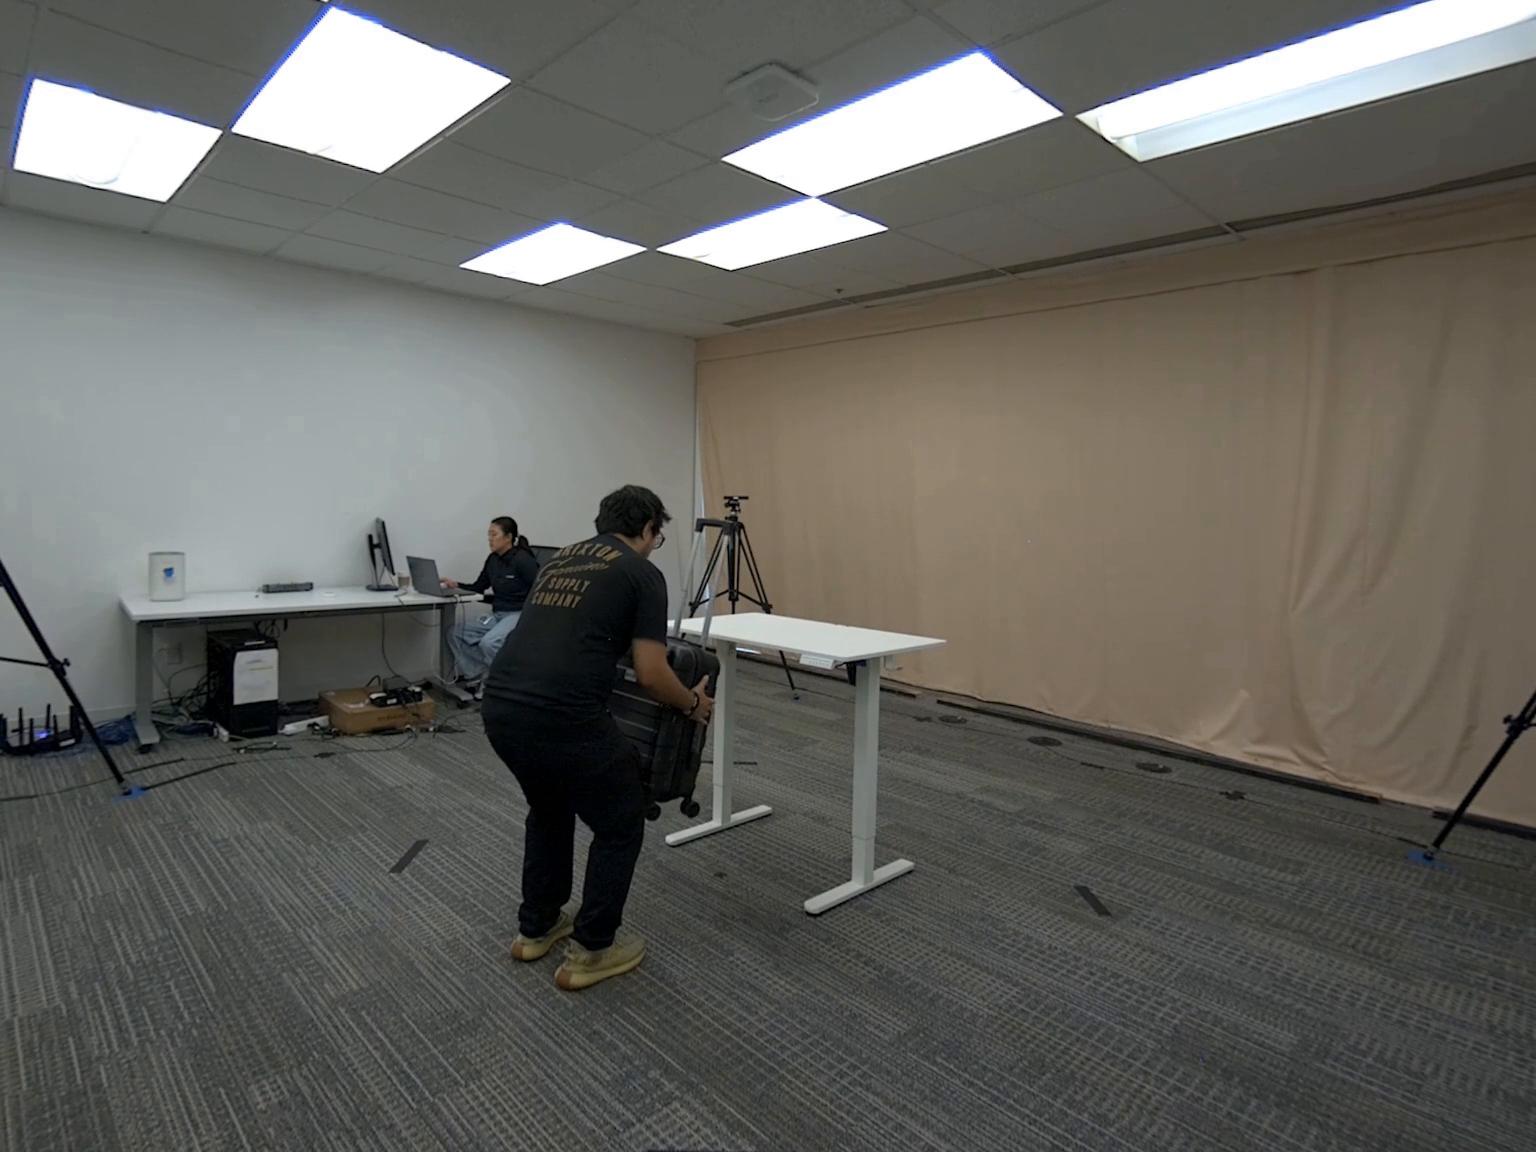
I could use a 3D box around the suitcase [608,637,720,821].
[{"bbox_3d":[-0.350,0.273,2.796,0.394,0.980,0.250,8,-4,40],"label":"suitcase"}]
